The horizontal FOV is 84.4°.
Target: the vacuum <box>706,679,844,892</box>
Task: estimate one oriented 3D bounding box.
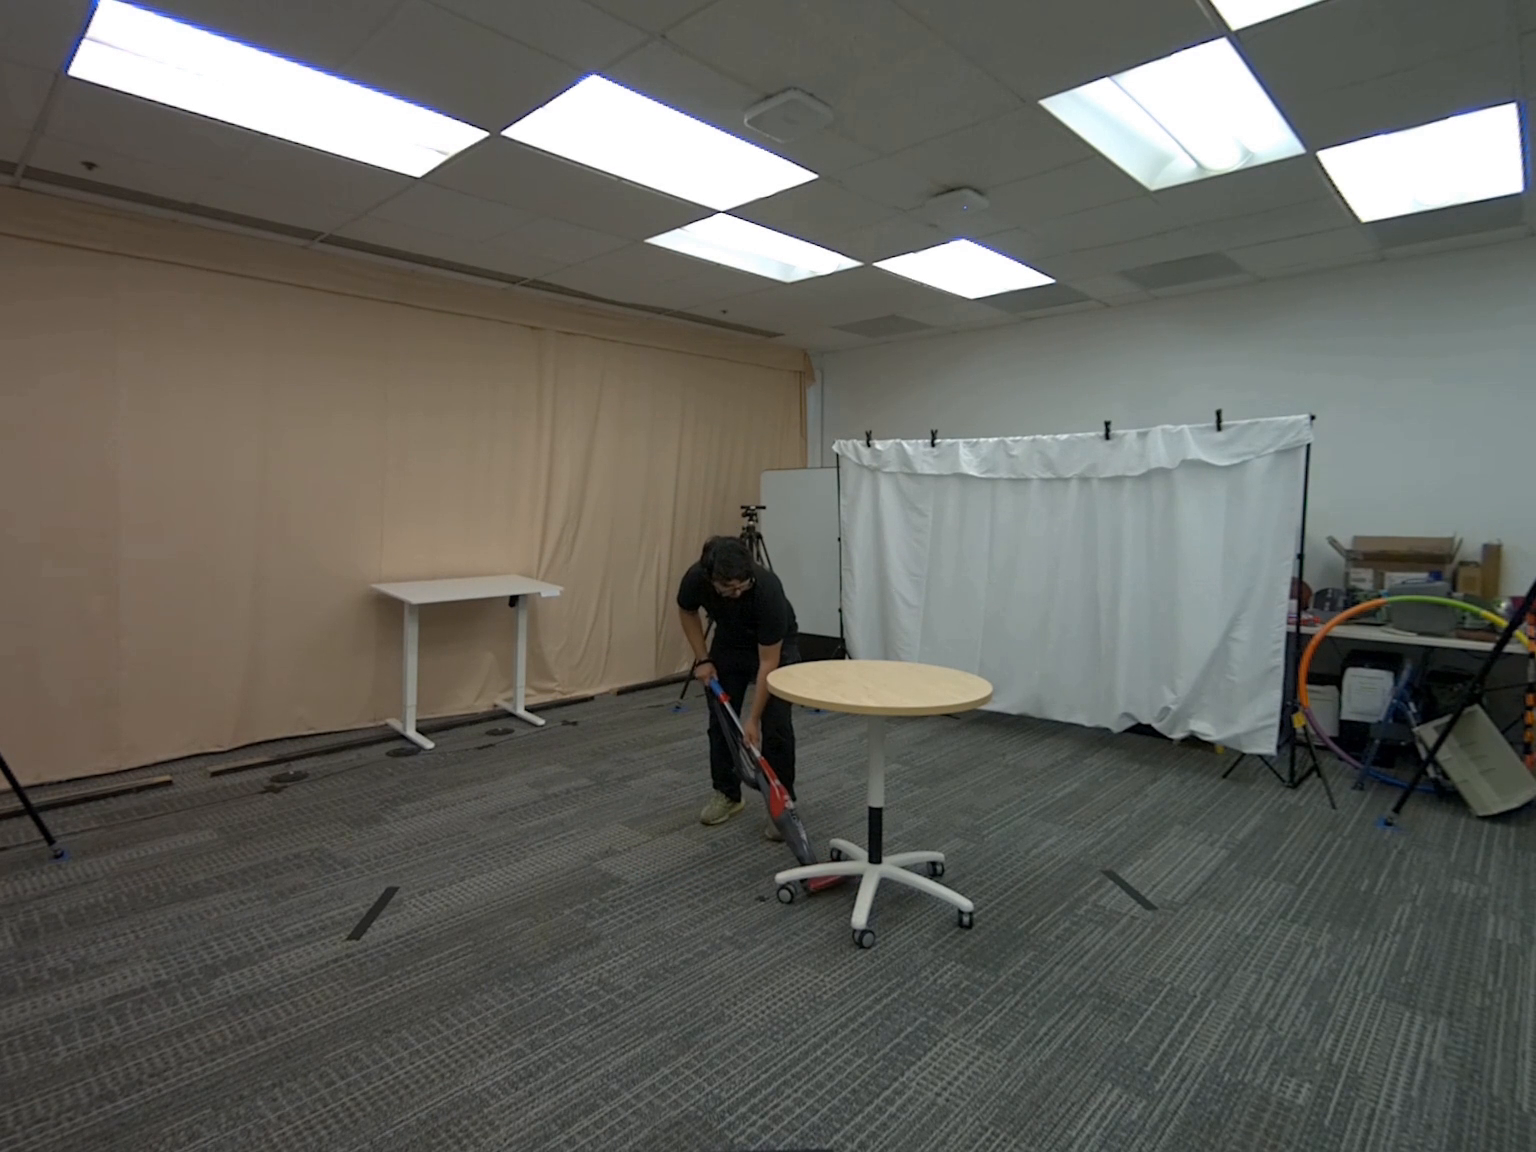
[{"bbox_3d":[-0.047,0.756,3.417,0.246,0.142,1.085,-11,44,-30],"label":"vacuum"}]
